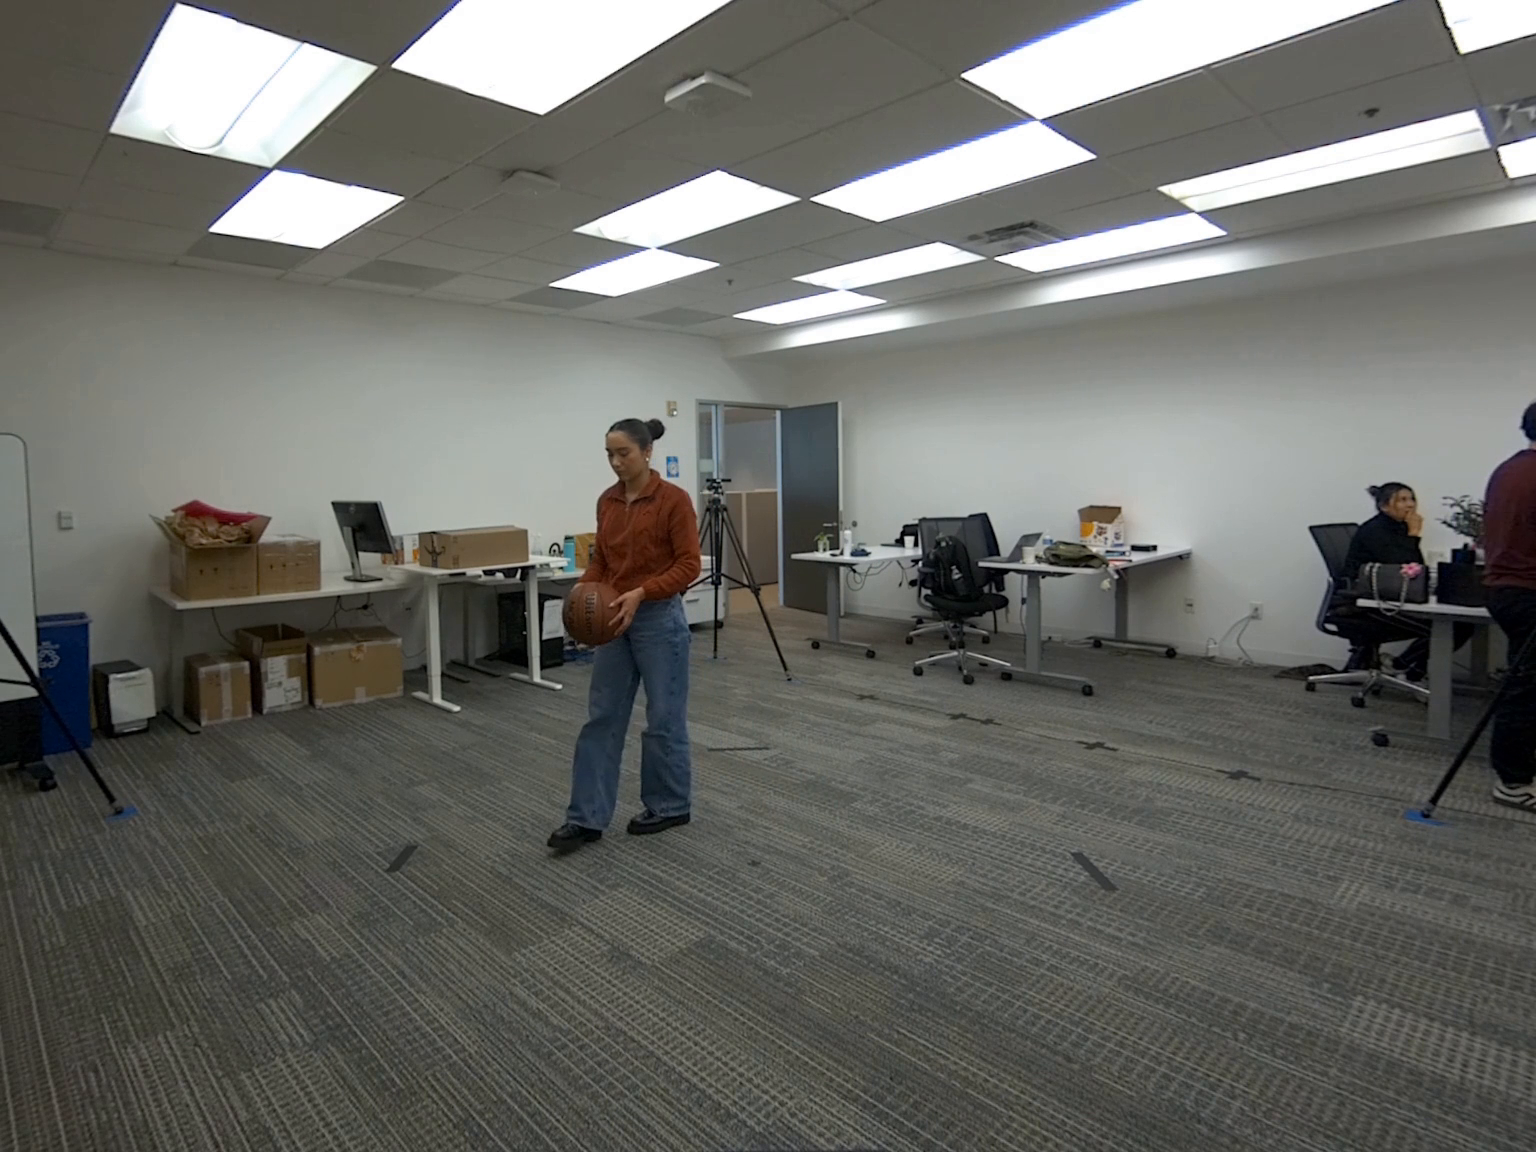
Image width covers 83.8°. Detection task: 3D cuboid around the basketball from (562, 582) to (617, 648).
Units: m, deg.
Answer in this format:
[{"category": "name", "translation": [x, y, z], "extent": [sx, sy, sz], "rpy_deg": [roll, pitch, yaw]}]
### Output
[{"category": "basketball", "translation": [-0.650, 0.134, 3.153], "extent": [0.236, 0.235, 0.237], "rpy_deg": [-1, 5, -2]}]
